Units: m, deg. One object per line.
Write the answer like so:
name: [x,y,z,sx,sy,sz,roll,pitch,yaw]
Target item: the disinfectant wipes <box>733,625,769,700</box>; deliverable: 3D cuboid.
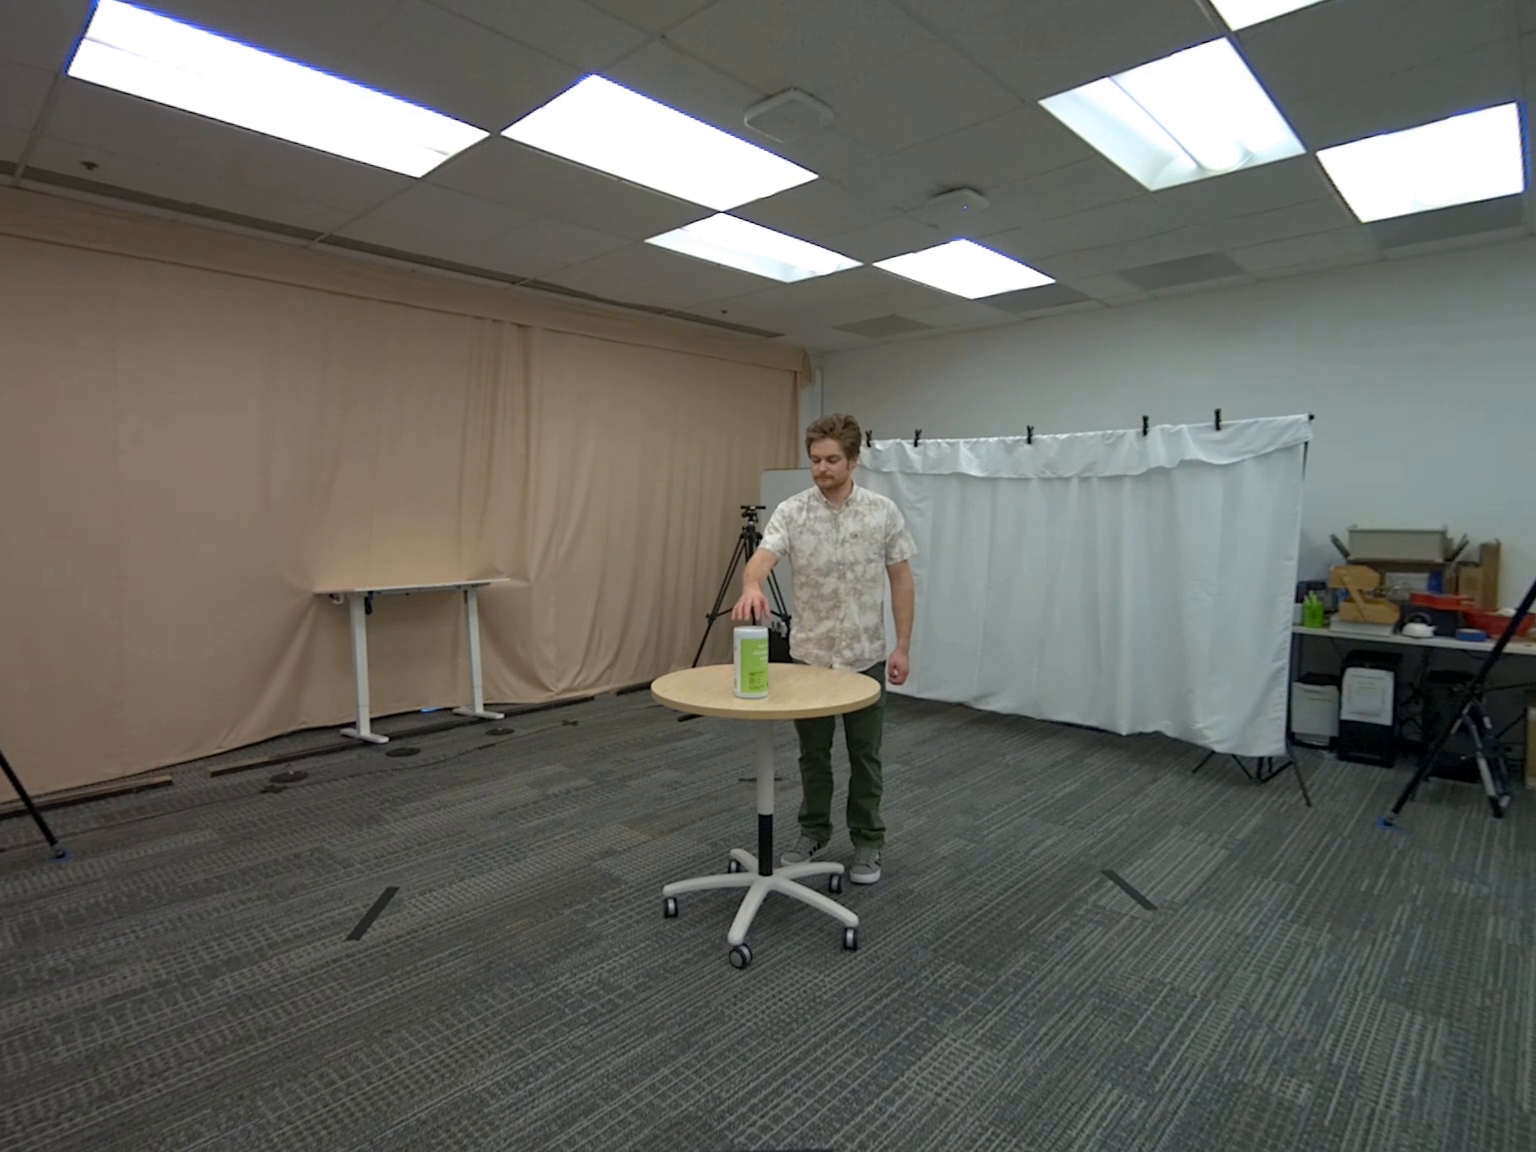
disinfectant wipes: [-0.053,0.269,2.653,0.118,0.217,0.118,-1,1,-2]
